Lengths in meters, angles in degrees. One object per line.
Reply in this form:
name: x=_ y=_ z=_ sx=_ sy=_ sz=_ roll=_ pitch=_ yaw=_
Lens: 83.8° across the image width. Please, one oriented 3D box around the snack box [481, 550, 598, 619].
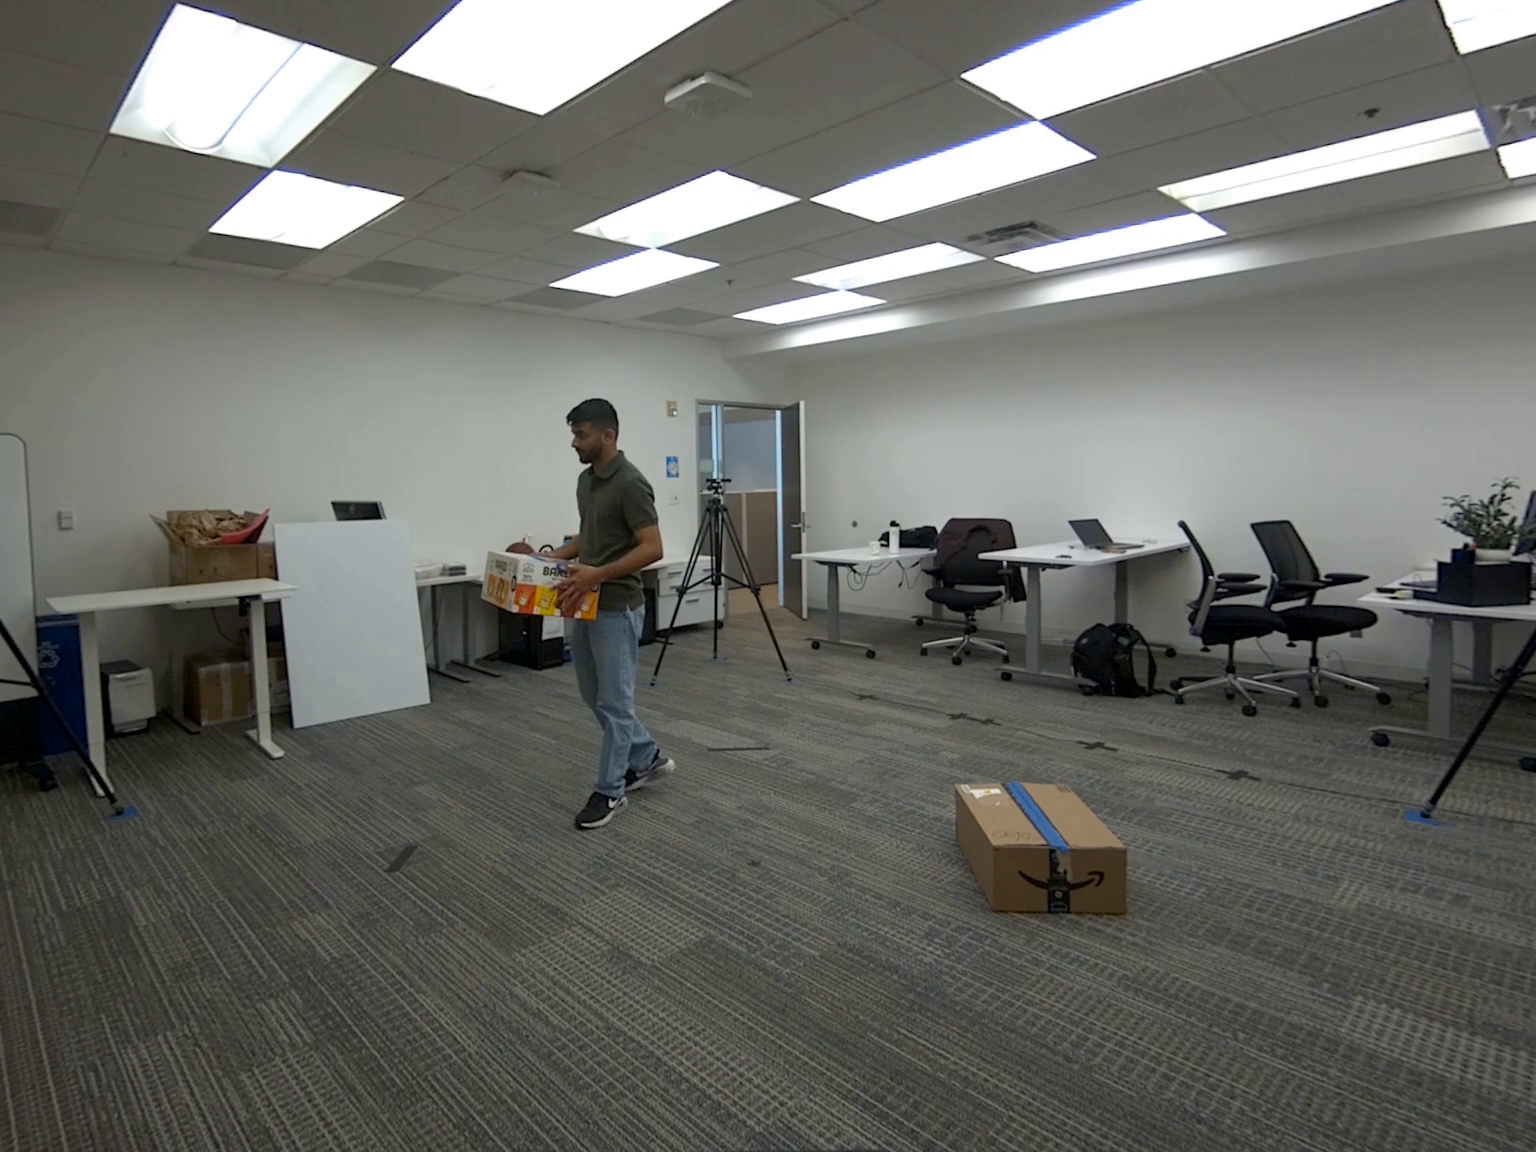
snack box: x=-0.906 y=0.033 z=3.429 sx=0.330 sy=0.206 sz=0.417 roll=8 pitch=1 yaw=-34
